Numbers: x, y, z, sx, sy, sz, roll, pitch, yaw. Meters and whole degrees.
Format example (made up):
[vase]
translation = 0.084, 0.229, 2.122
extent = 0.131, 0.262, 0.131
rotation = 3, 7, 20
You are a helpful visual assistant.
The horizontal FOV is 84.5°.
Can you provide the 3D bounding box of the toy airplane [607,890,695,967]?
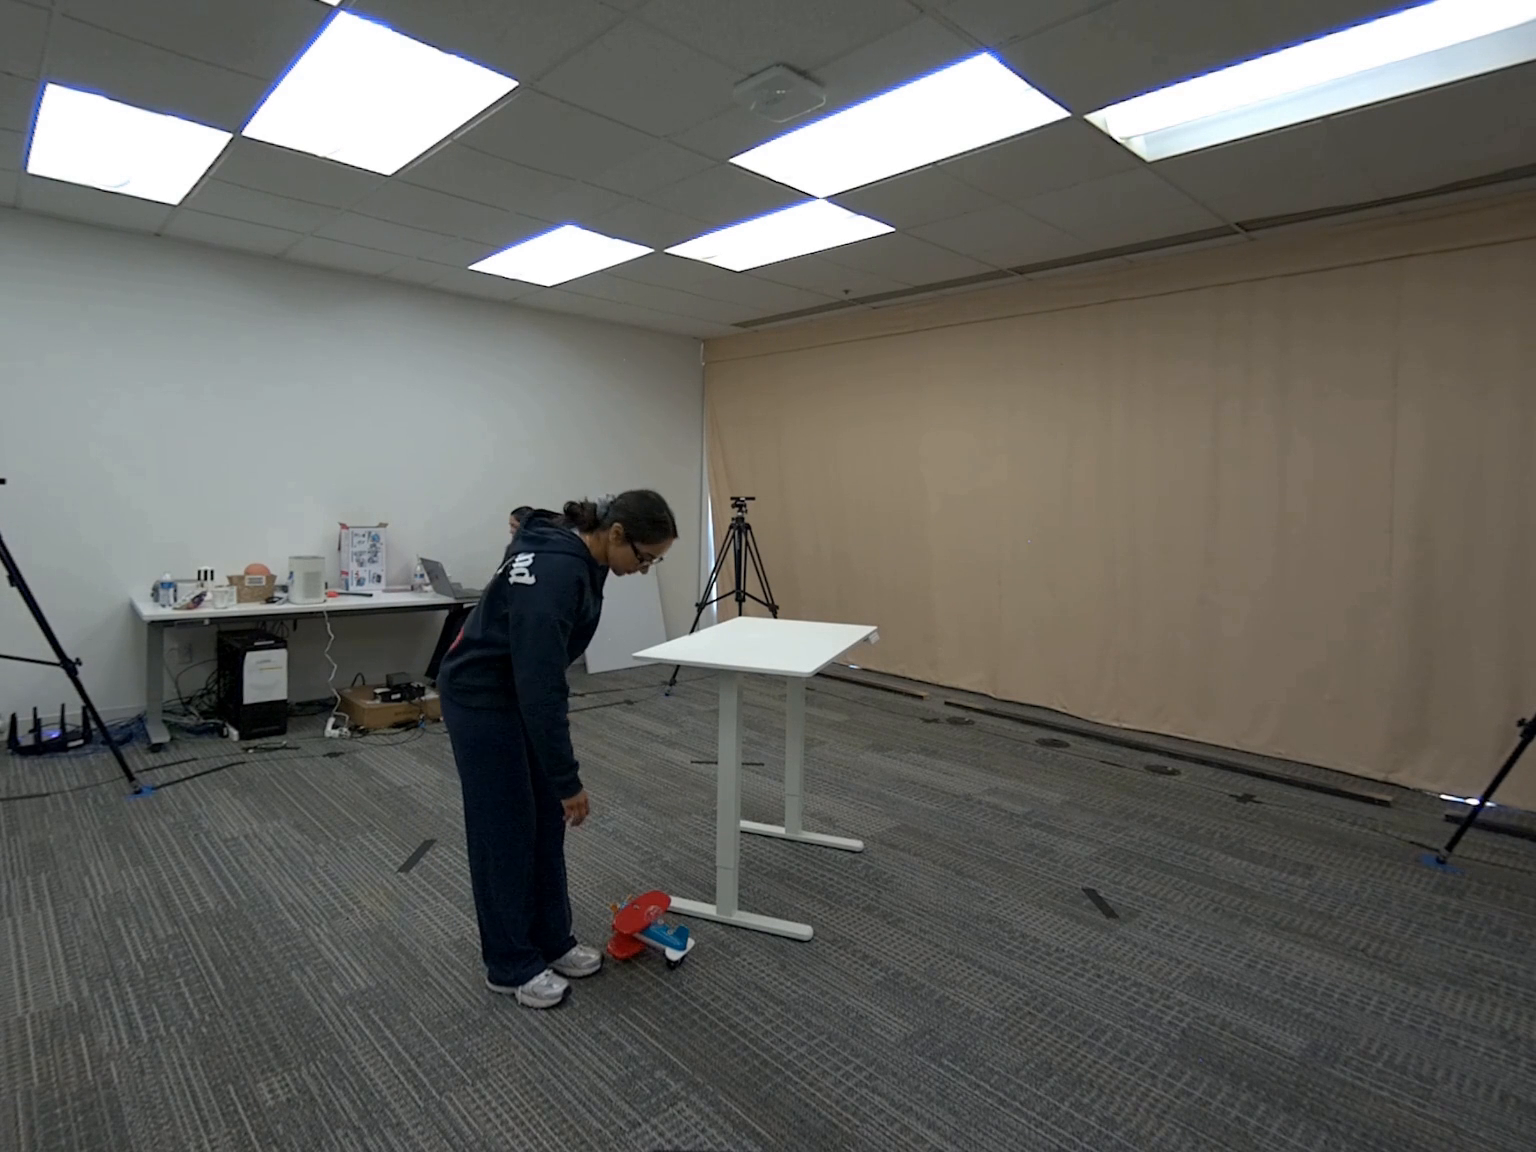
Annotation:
[toy airplane]
translation = -0.354, 1.083, 2.558
extent = 0.259, 0.156, 0.252
rotation = 1, 4, -2
